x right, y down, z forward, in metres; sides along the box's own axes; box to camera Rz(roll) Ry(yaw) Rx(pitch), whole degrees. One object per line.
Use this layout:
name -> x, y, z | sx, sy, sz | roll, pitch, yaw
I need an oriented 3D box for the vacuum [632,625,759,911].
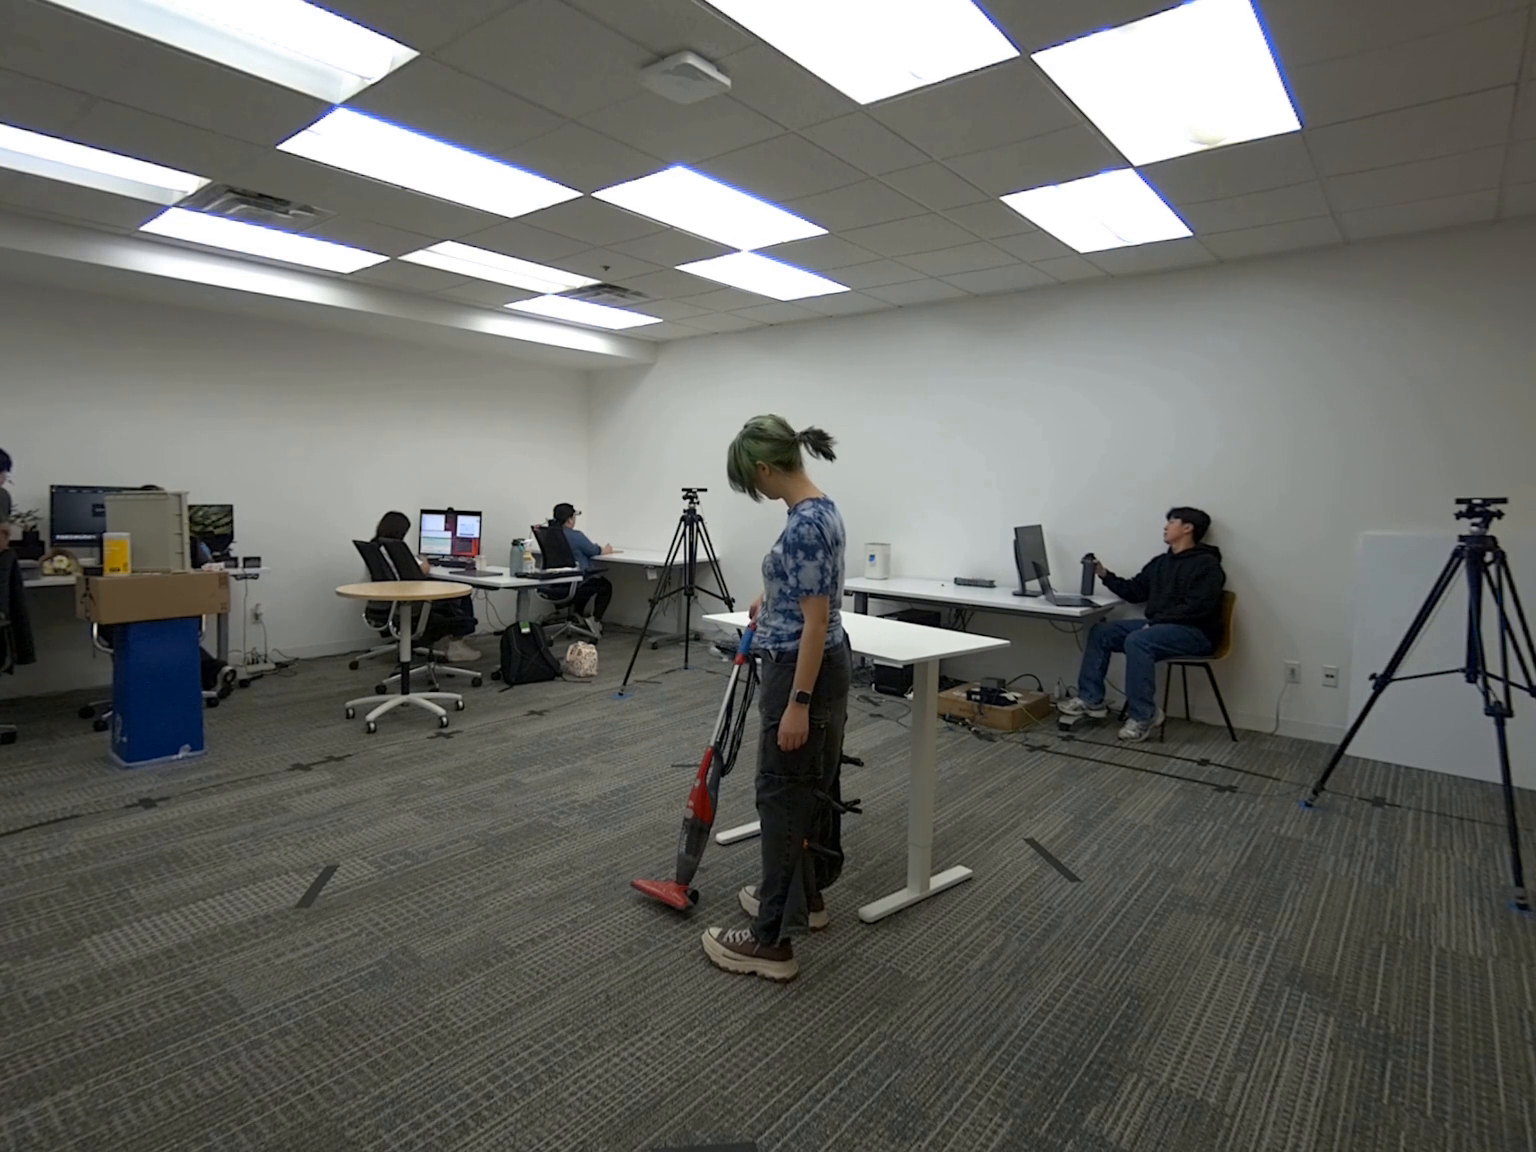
vacuum -> -0.177, 0.602, 2.999 | 0.261, 1.059, 0.138 | 6, -21, 35
